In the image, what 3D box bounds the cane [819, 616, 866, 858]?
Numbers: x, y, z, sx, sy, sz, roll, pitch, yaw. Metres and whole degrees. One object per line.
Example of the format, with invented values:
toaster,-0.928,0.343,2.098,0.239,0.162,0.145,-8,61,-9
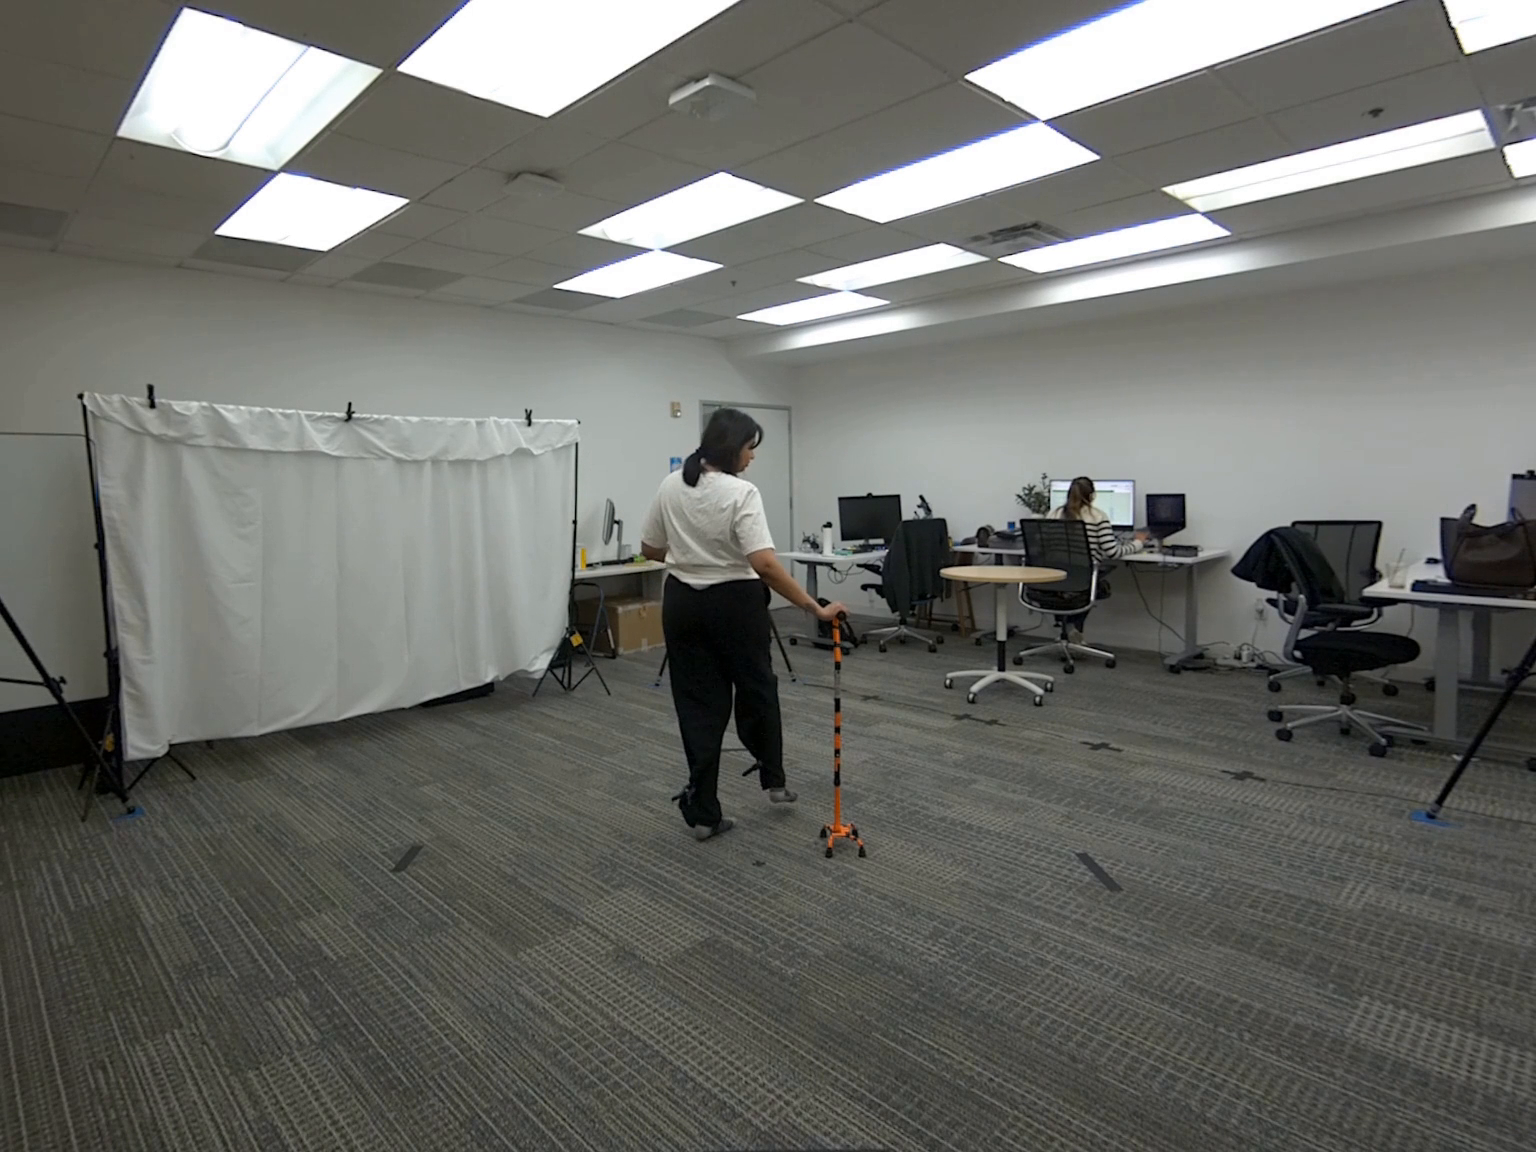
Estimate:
cane,0.285,0.578,3.214,0.151,0.905,0.207,0,4,-1
